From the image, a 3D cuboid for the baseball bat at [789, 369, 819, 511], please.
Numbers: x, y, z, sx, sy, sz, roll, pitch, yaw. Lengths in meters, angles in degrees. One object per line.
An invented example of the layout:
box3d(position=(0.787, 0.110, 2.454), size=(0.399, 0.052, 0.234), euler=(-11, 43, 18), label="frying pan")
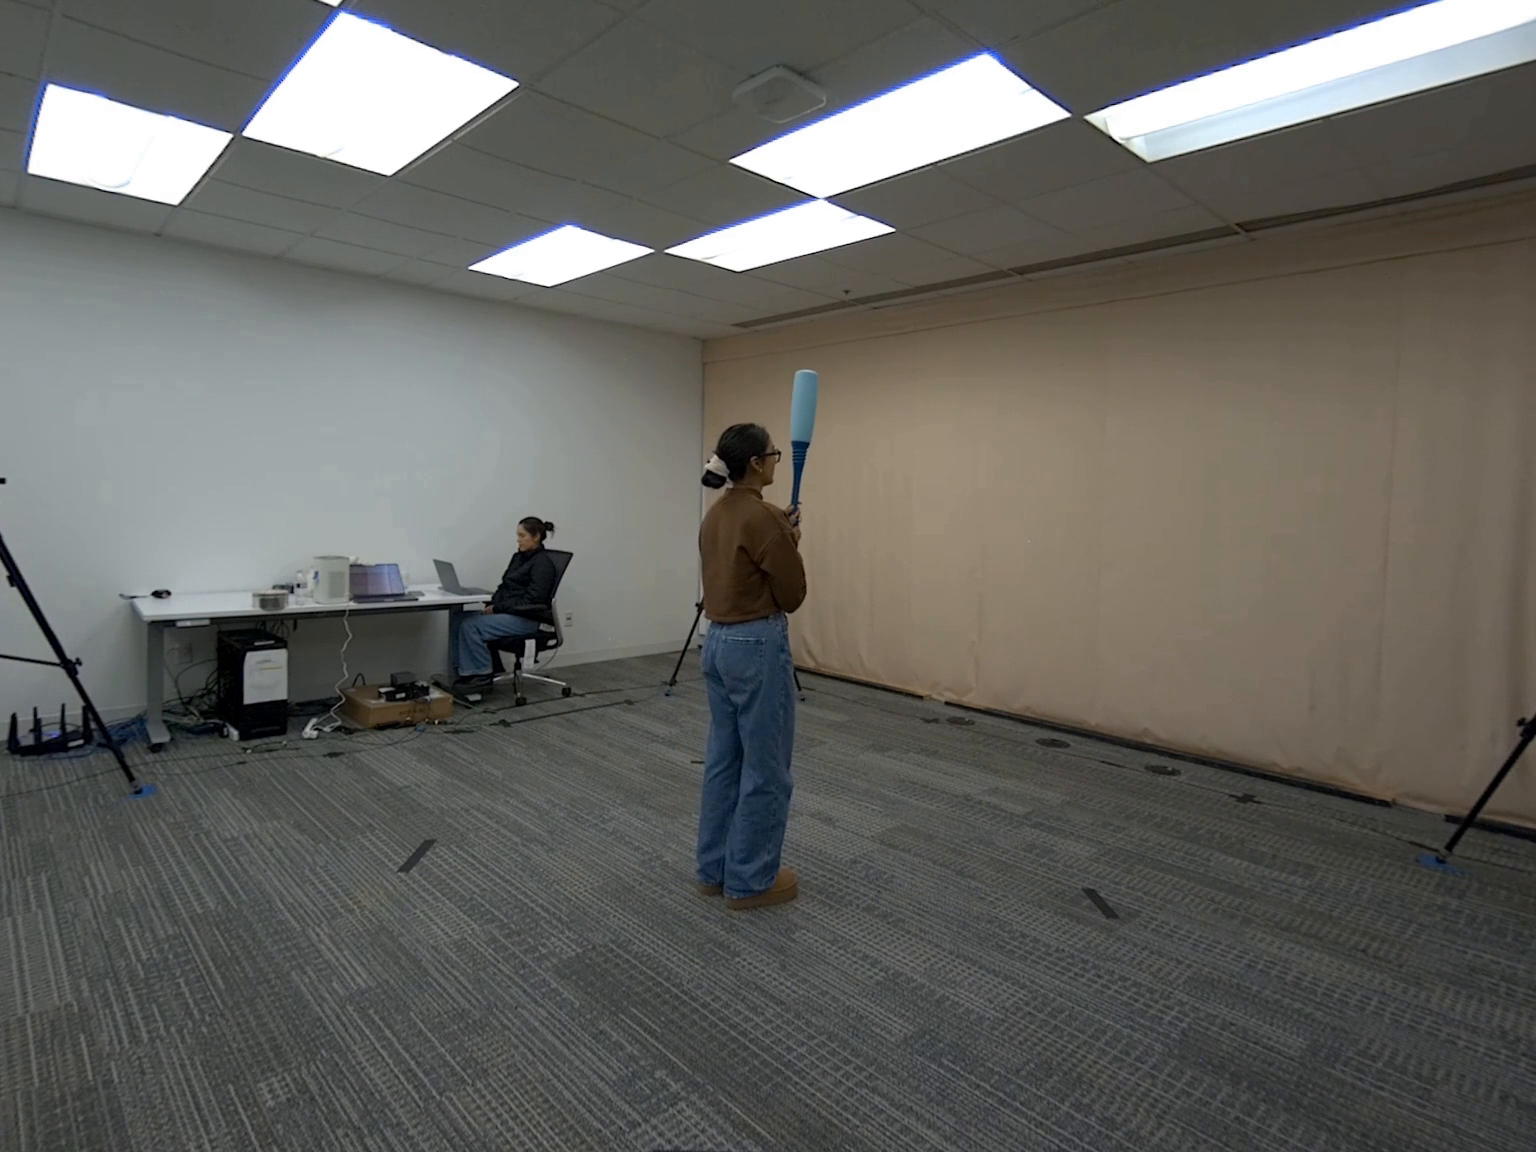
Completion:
box3d(position=(0.109, -0.453, 2.965), size=(0.089, 0.543, 0.089), euler=(5, 0, -1), label="baseball bat")
